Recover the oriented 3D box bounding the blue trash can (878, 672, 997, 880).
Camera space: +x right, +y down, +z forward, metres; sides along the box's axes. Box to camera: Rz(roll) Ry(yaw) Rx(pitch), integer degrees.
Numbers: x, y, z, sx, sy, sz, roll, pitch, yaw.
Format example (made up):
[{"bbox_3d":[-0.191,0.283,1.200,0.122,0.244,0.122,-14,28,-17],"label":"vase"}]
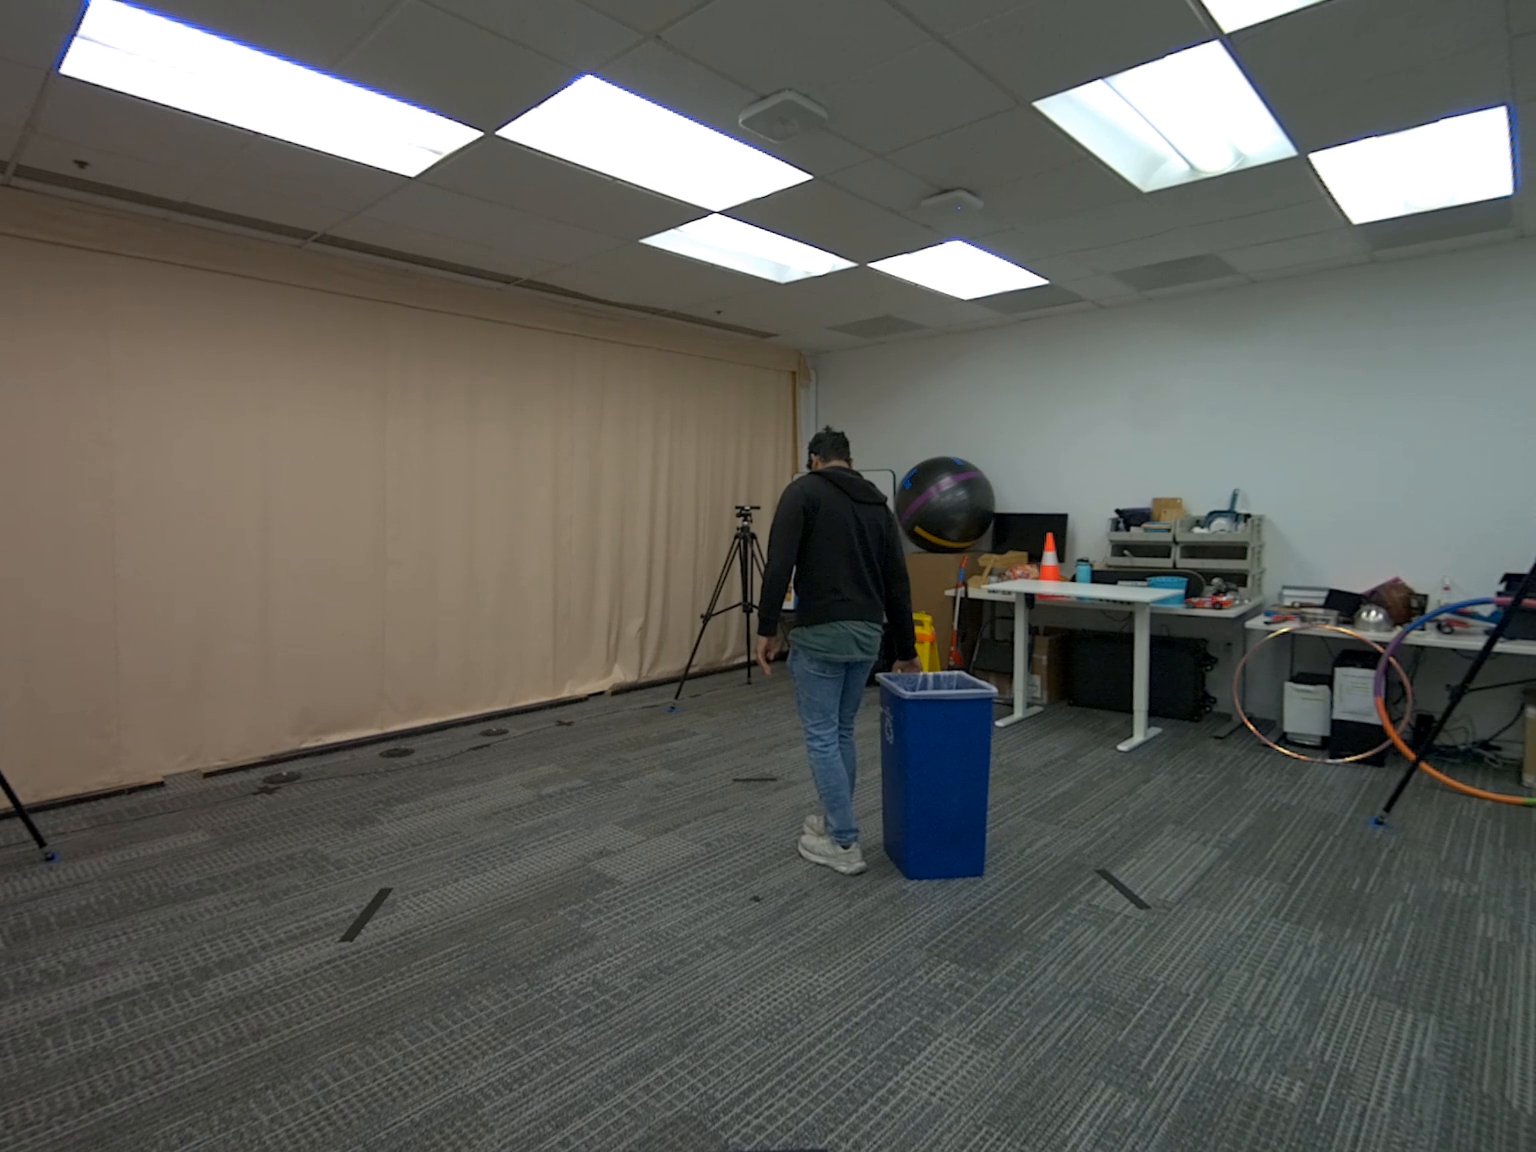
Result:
[{"bbox_3d":[0.643,0.762,3.264,0.371,0.712,0.382,0,3,-9],"label":"blue trash can"}]
